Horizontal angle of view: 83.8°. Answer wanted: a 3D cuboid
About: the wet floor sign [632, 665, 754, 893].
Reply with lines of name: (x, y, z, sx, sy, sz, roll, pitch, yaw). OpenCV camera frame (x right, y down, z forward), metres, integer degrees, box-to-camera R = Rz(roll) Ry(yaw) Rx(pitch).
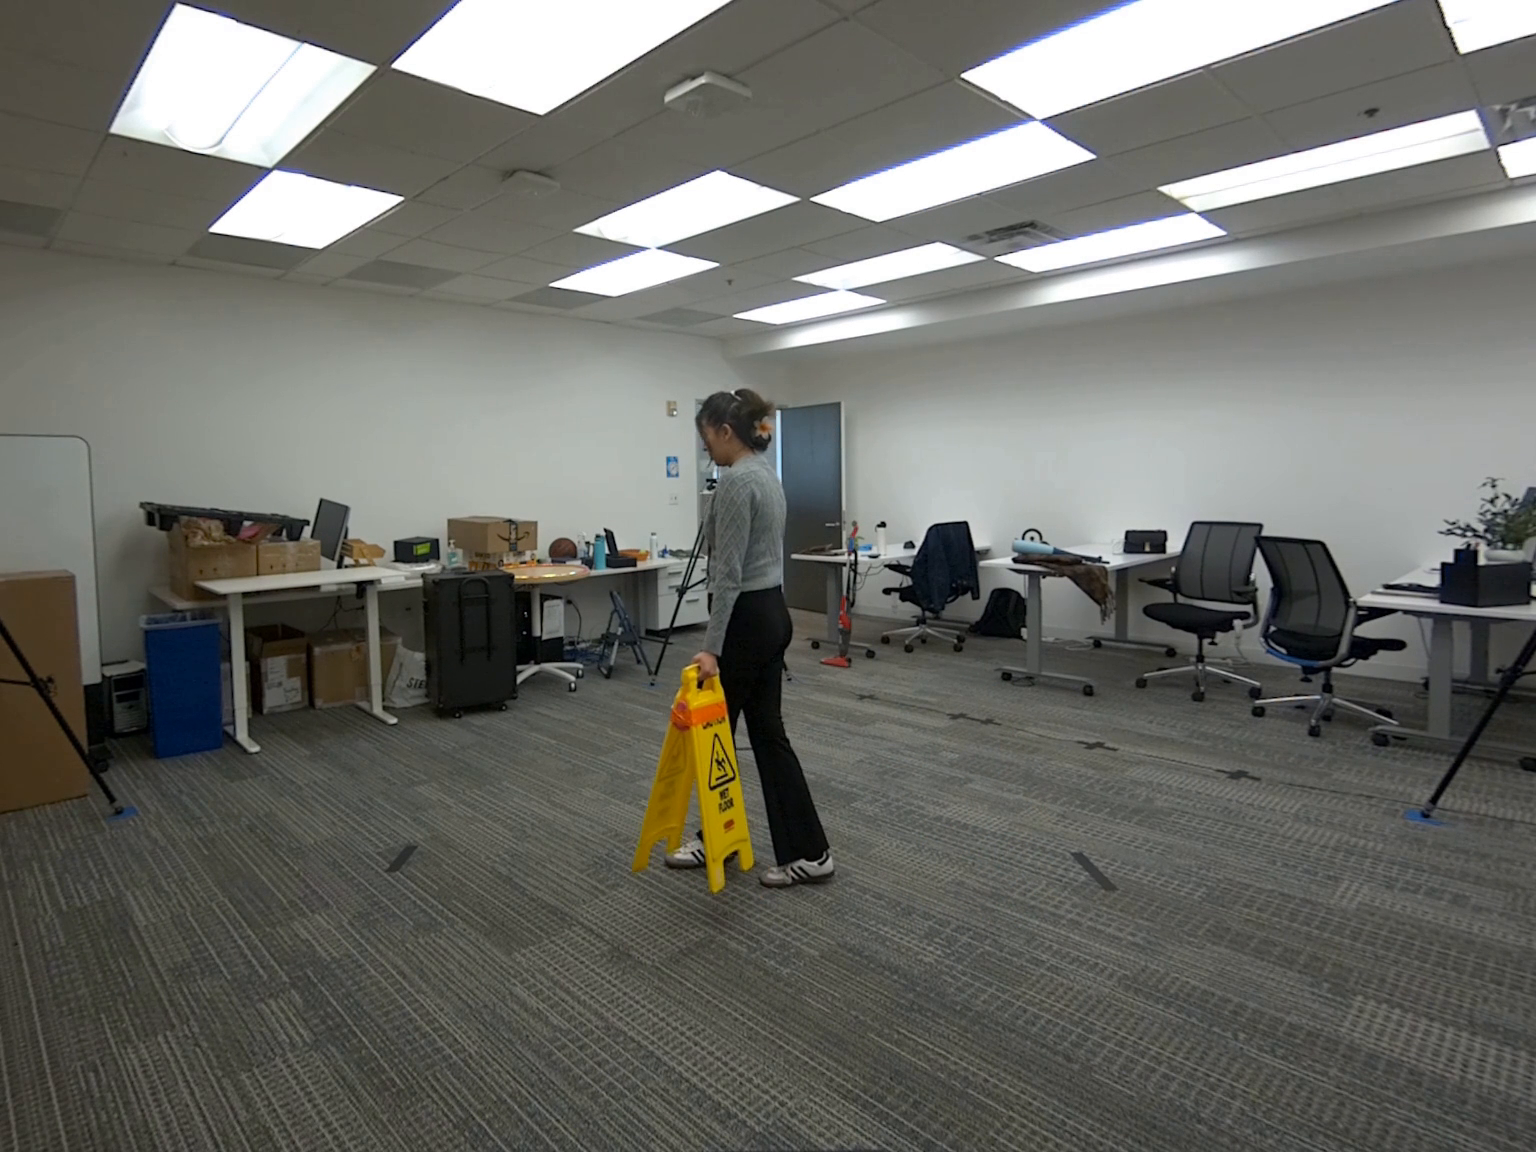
wet floor sign: (-0.226, 0.605, 2.700, 0.297, 0.647, 0.275, 1, -1, 26)
